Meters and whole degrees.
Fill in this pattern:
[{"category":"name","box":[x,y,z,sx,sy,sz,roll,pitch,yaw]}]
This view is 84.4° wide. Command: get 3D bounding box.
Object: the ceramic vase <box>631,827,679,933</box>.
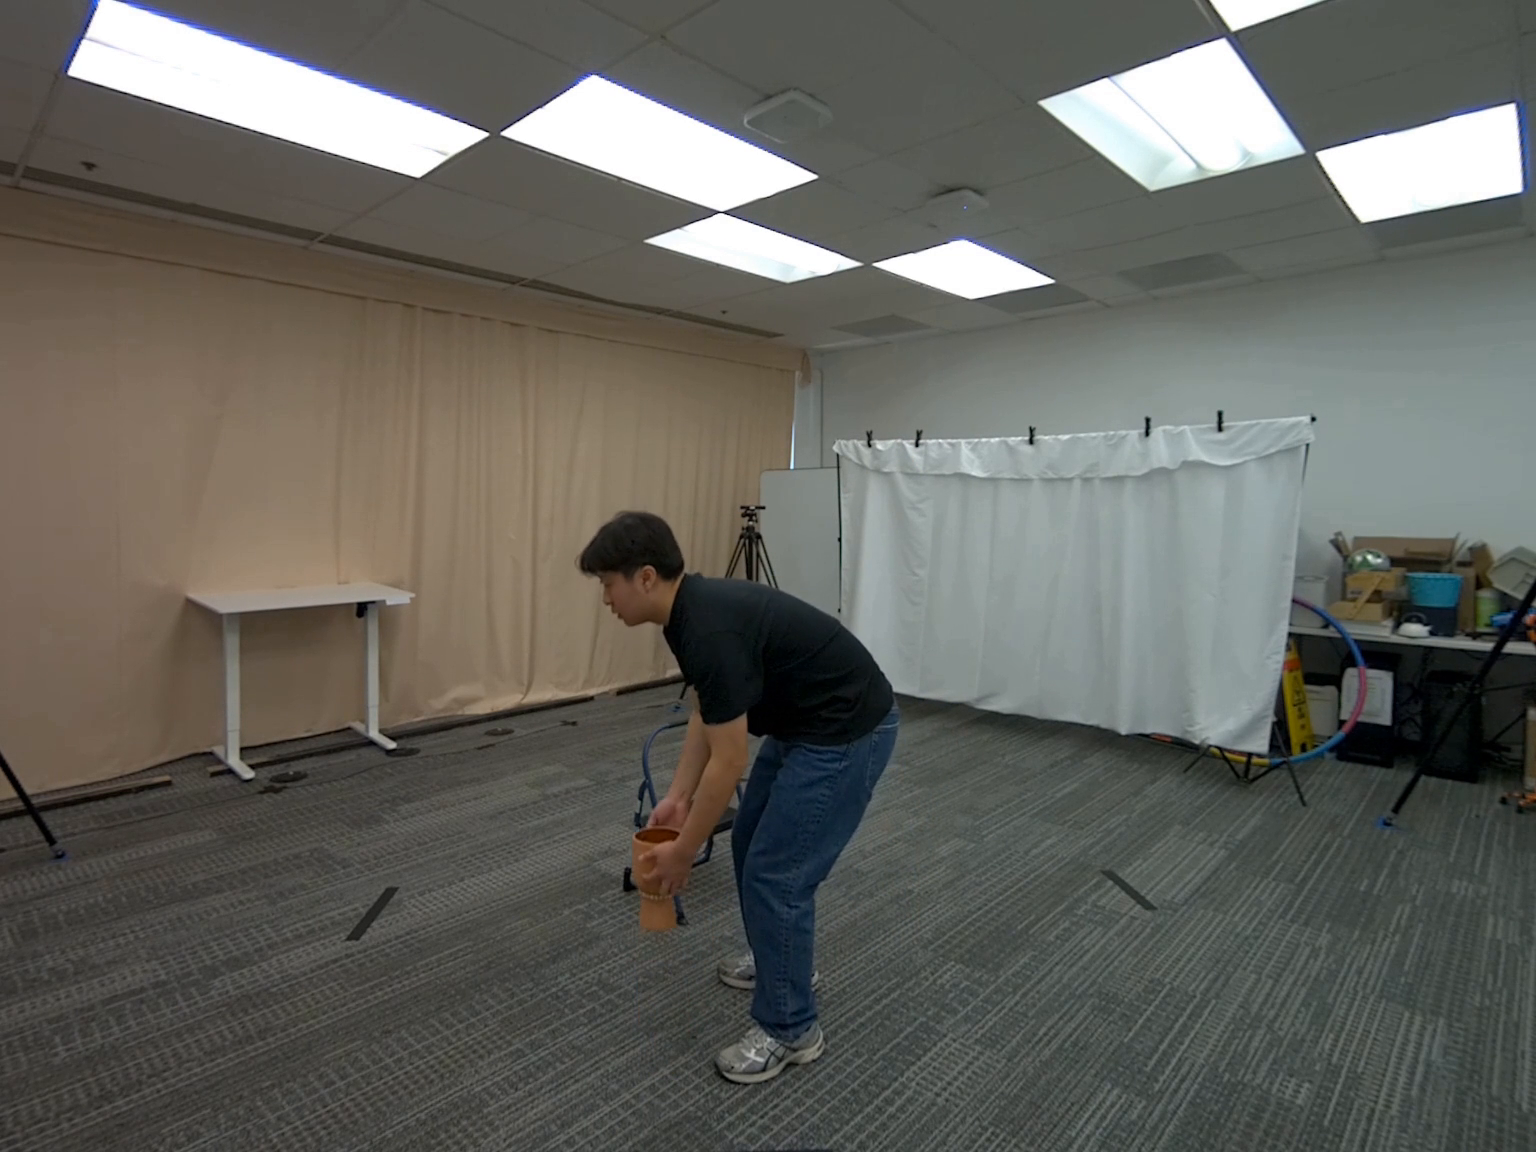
[{"category":"ceramic vase","box":[-0.289,0.769,2.120,0.156,0.220,0.136,-1,0,-14]}]
